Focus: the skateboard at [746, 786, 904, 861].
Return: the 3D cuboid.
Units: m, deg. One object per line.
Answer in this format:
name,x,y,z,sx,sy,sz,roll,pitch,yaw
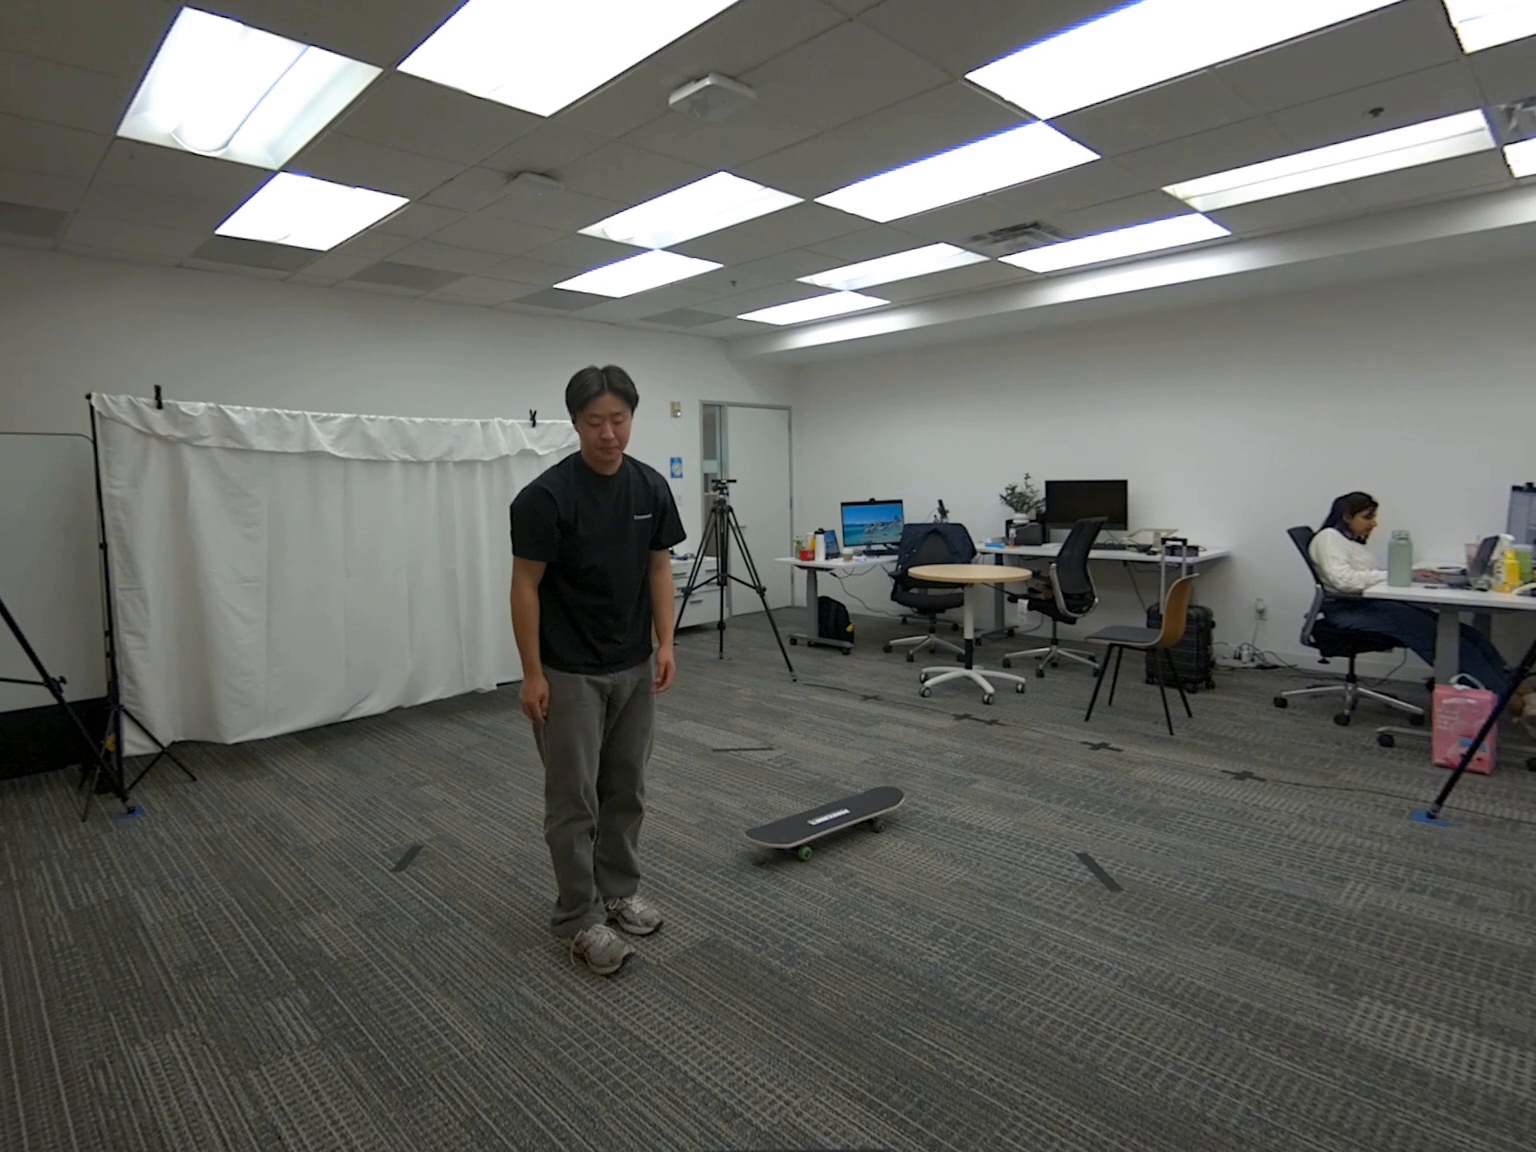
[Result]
skateboard,0.237,0.961,3.312,0.765,0.110,0.199,-6,7,-38
